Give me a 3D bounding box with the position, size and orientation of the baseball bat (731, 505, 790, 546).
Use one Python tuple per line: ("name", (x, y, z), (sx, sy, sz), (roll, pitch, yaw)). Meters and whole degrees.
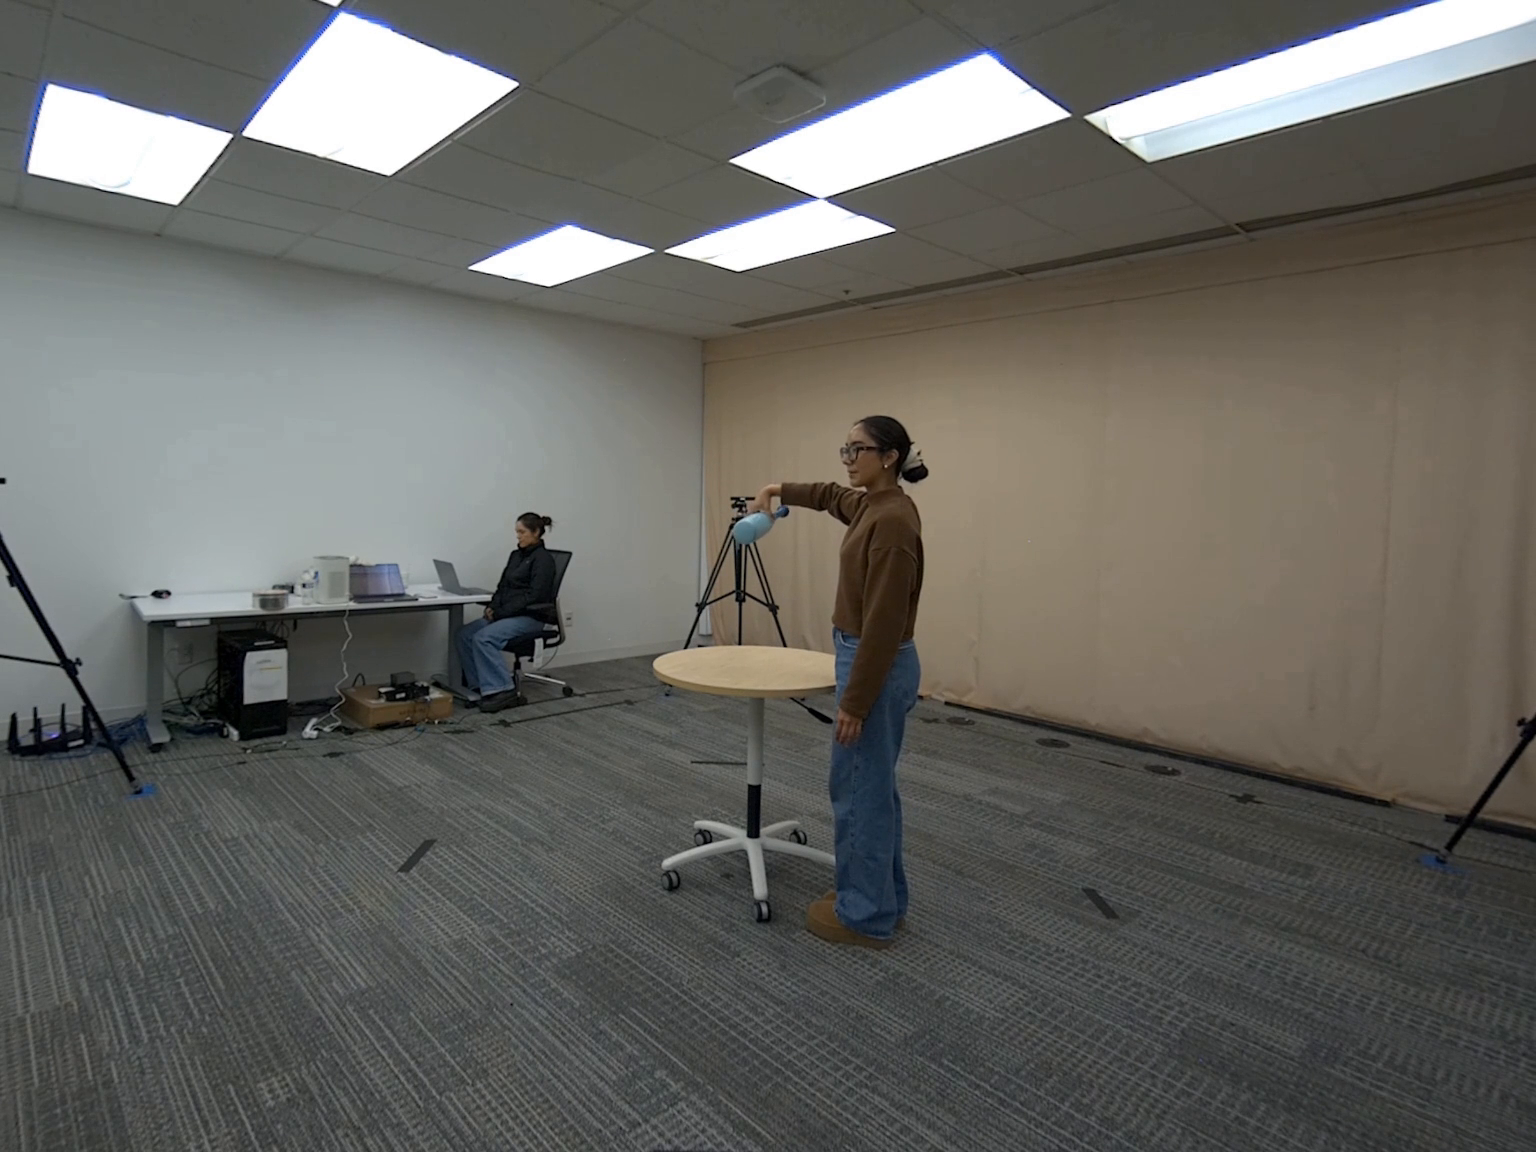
("baseball bat", (-0.014, -0.196, 3.071), (0.090, 0.088, 0.540), (2, 12, 14))
